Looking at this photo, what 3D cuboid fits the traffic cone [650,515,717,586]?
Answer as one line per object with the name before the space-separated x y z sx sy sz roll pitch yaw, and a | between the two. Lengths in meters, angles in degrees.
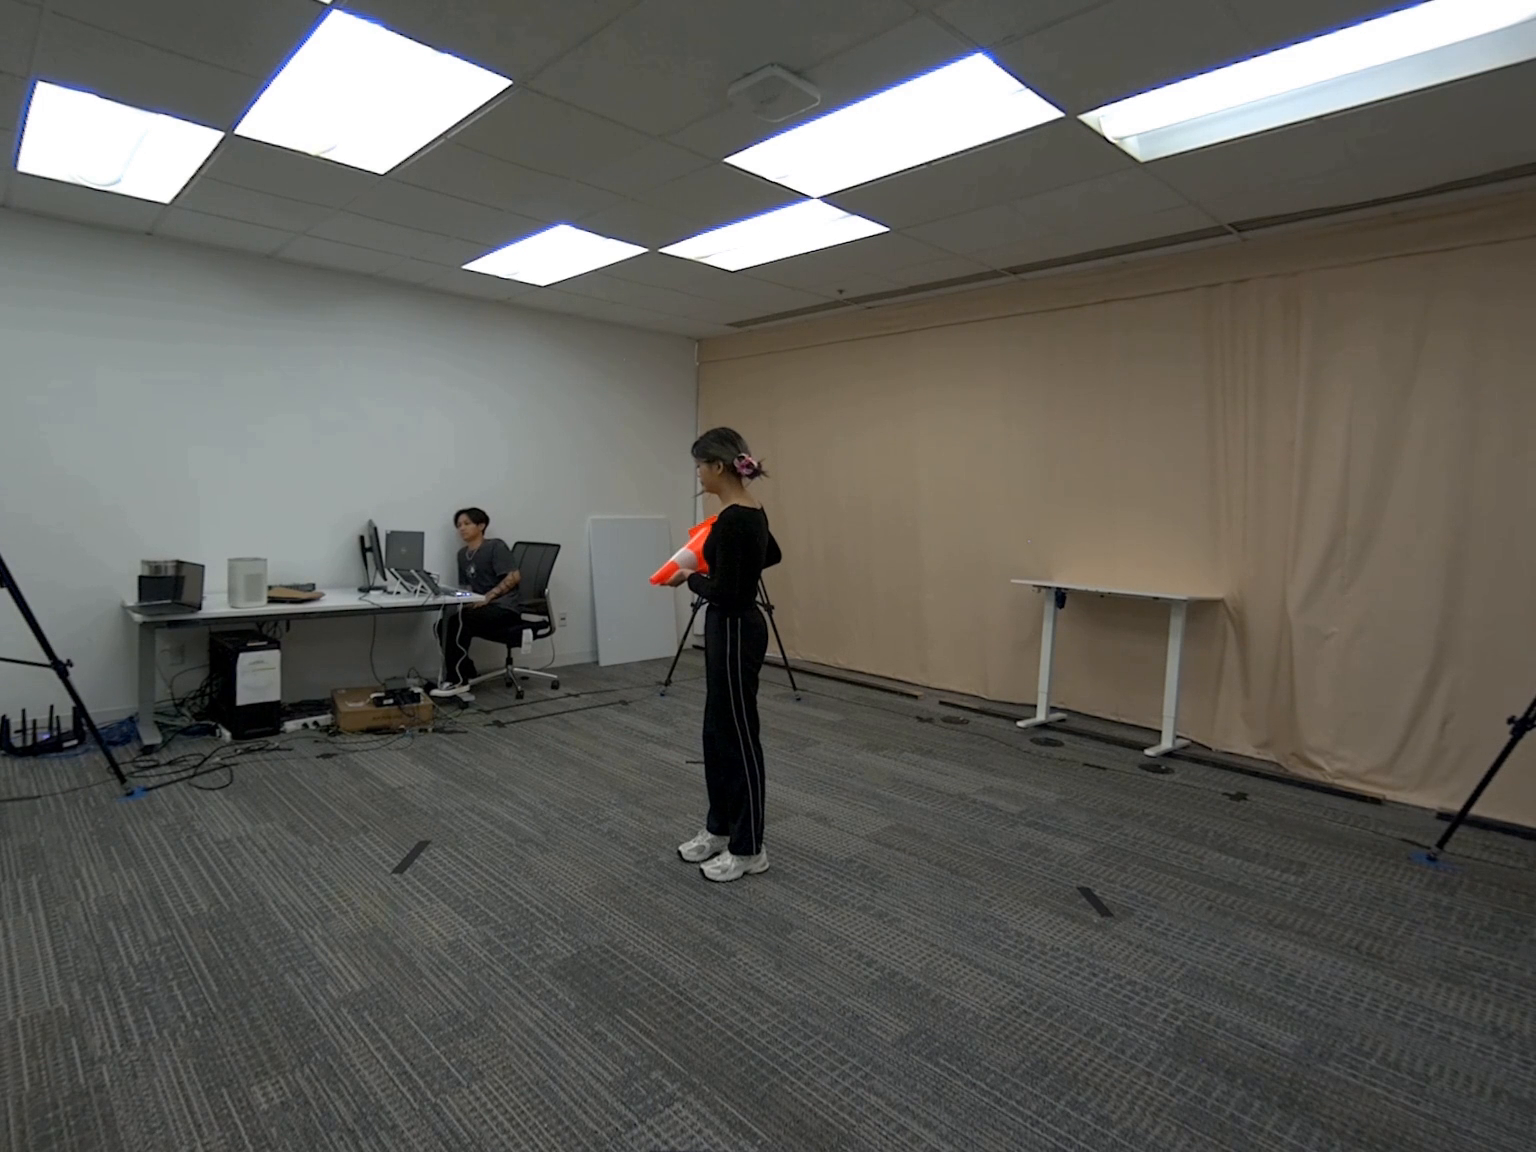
traffic cone | -0.322 -0.040 3.247 0.207 0.202 0.381 -25 9 43
